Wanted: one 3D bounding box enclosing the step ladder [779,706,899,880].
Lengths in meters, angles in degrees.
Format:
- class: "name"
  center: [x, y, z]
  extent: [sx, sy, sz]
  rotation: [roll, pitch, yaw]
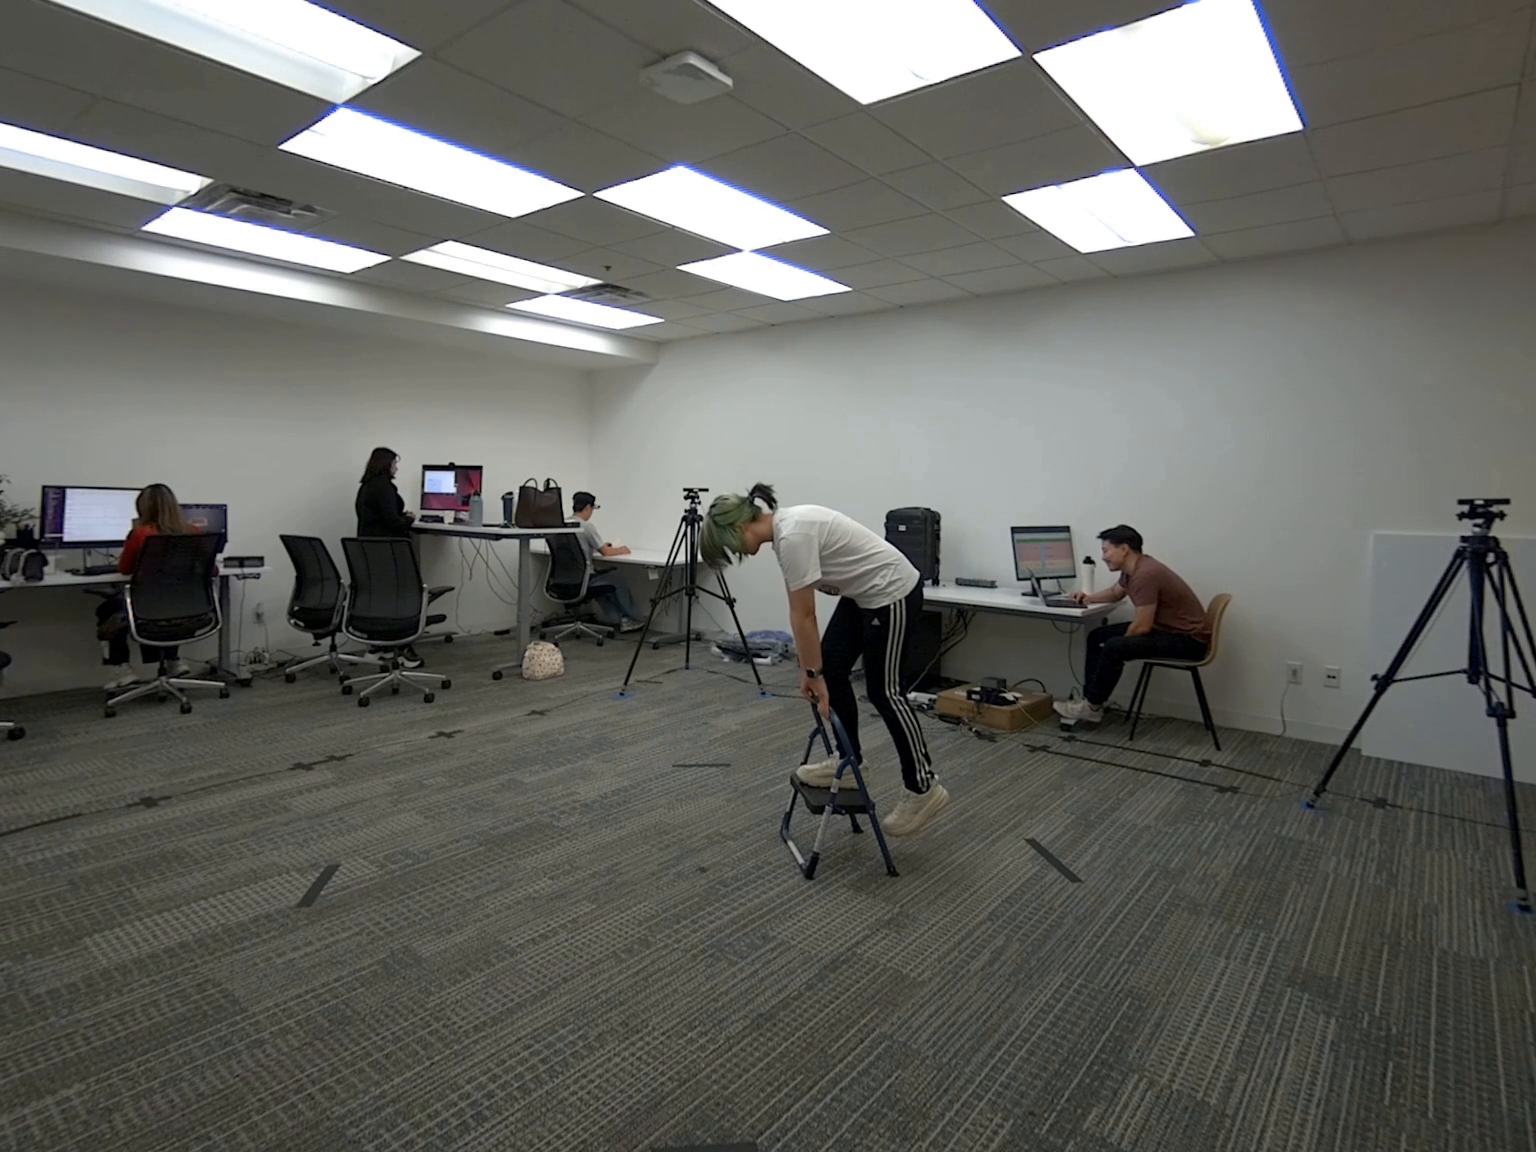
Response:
- class: "step ladder"
  center: [0.259, 0.768, 3.254]
  extent: [0.345, 0.604, 0.437]
  rotation: [1, 4, -12]
